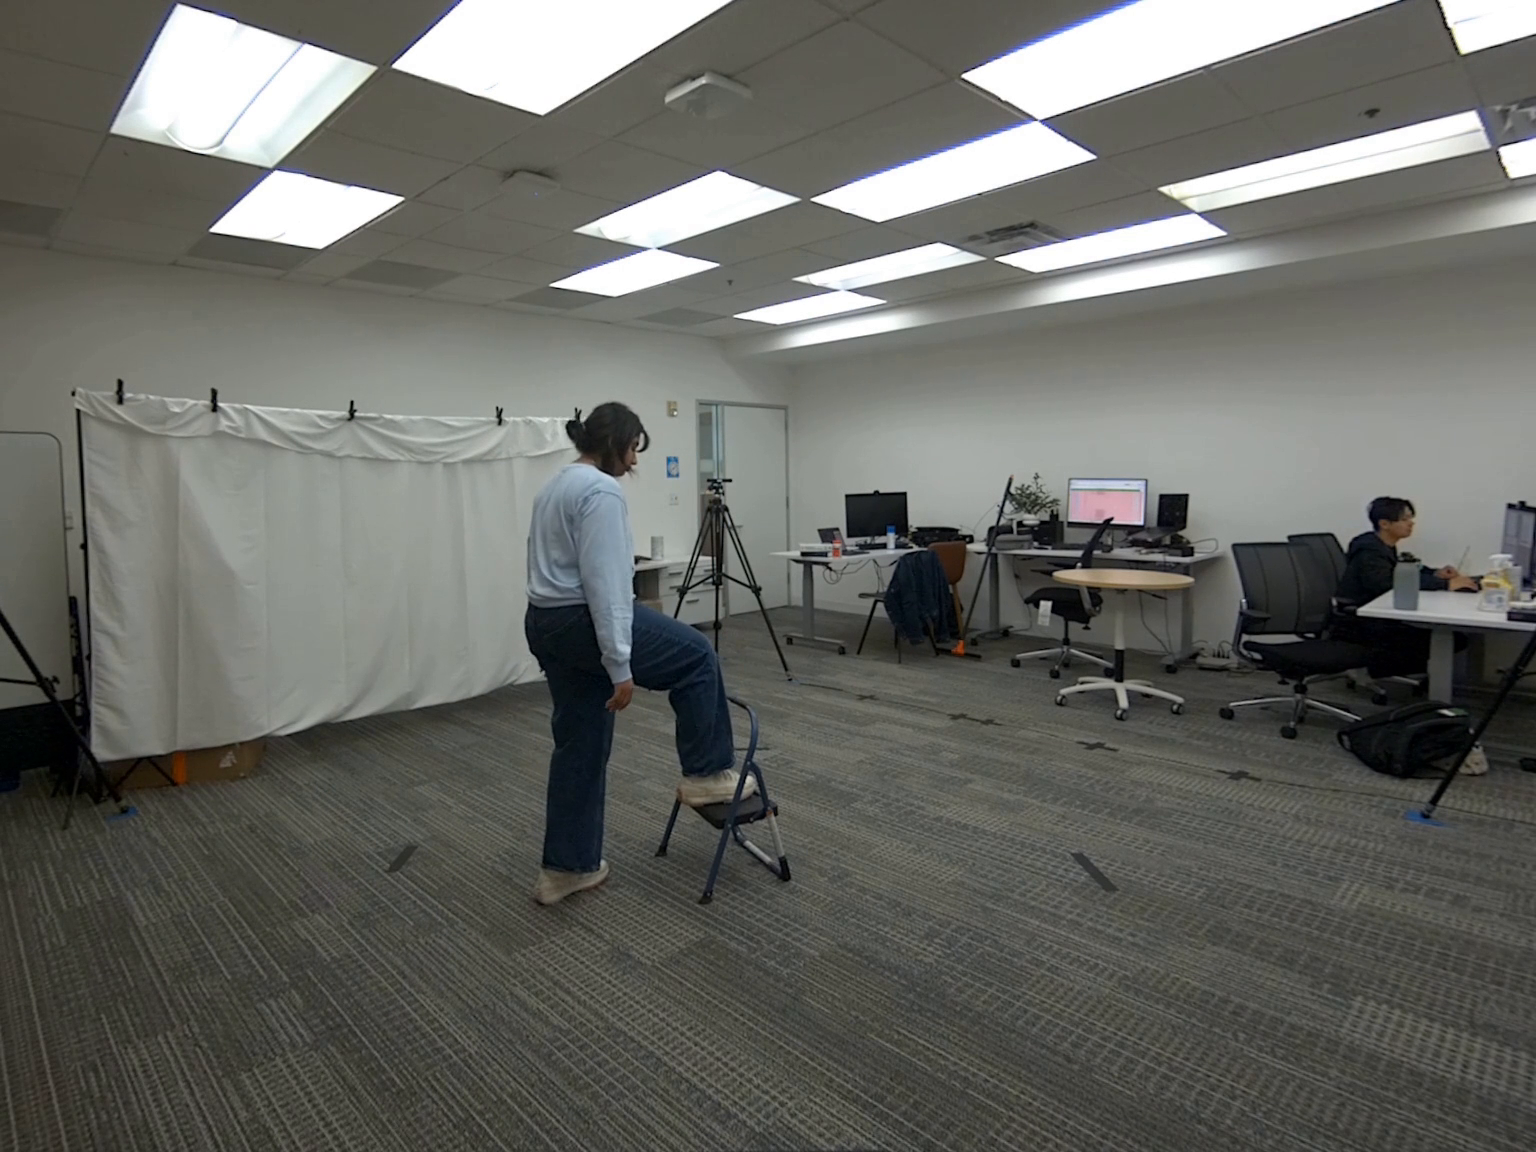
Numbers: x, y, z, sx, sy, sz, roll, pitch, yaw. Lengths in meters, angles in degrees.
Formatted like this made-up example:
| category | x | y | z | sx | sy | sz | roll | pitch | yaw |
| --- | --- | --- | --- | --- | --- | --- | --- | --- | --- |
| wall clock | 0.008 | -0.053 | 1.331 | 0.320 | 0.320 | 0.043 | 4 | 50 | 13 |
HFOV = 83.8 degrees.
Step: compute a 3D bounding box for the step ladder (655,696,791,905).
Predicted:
| category | x | y | z | sx | sy | sz | roll | pitch | yaw |
| --- | --- | --- | --- | --- | --- | --- | --- | --- | --- |
| step ladder | -0.168 | 0.752 | 3.061 | 0.341 | 0.604 | 0.442 | -3 | 5 | -28 |
